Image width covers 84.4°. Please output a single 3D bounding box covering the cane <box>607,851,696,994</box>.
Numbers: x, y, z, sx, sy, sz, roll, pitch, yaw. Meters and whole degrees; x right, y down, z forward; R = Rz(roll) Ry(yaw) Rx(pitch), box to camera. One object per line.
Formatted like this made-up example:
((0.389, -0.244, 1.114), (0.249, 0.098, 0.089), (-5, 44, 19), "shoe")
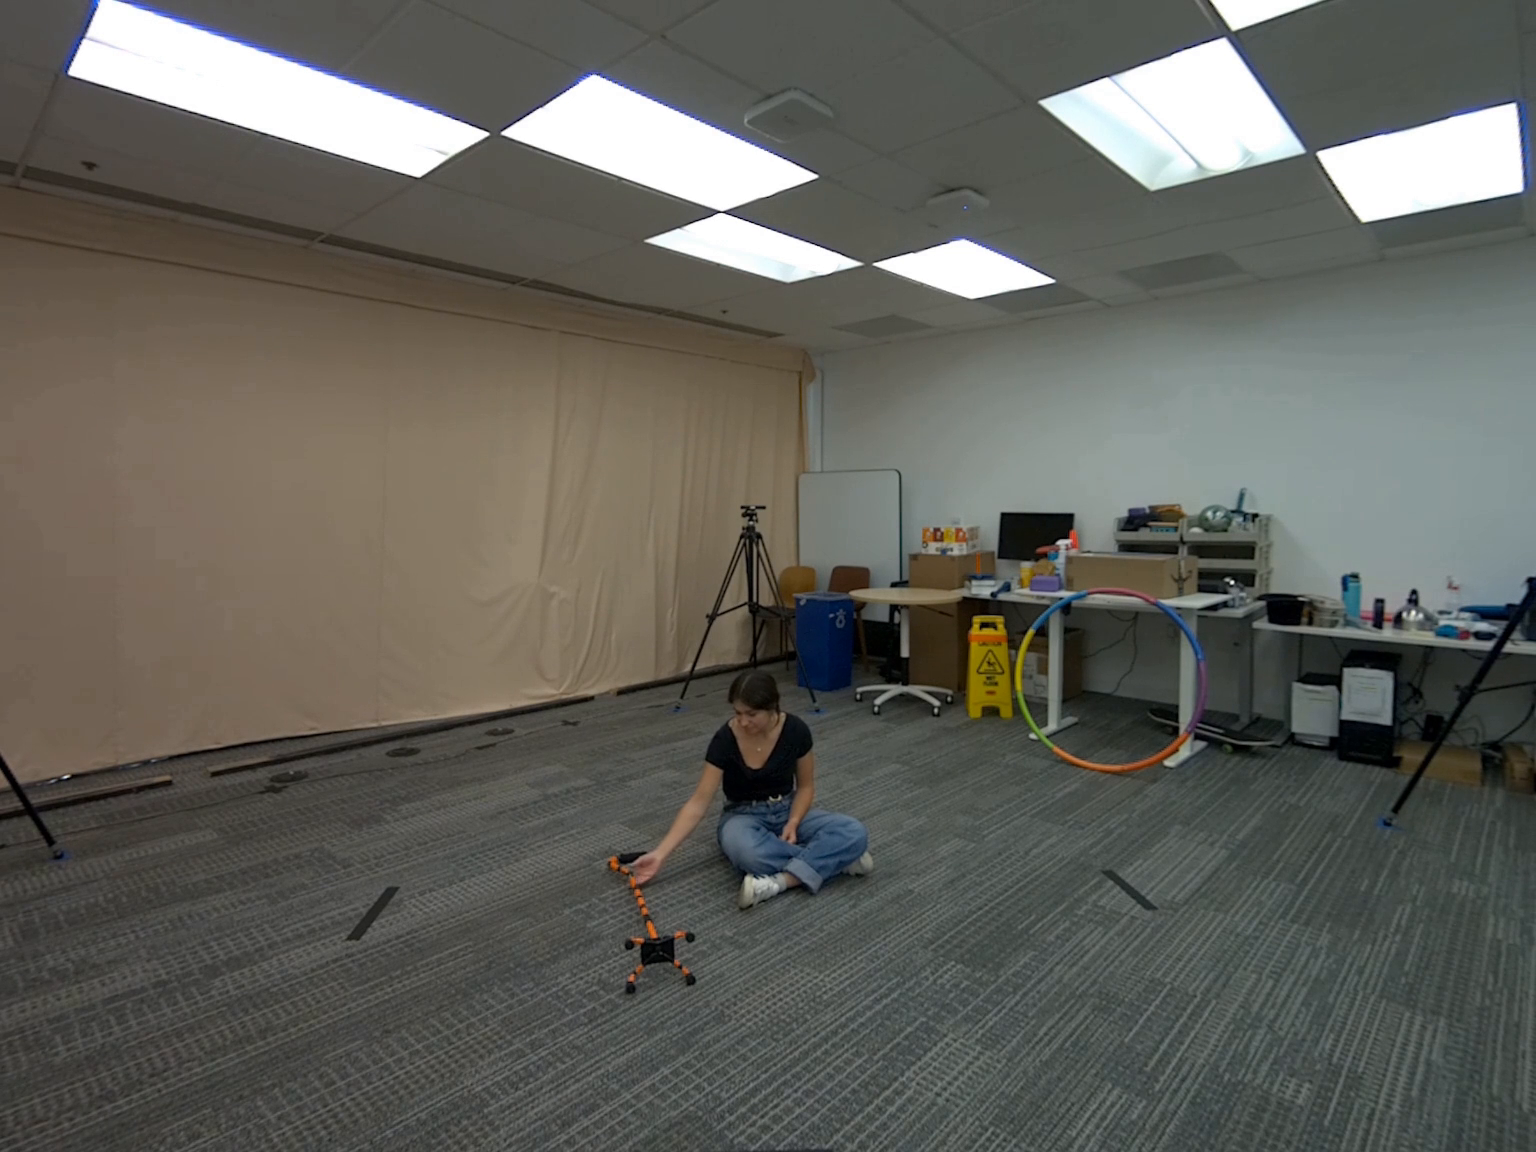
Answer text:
((-0.429, 1.109, 2.860), (0.203, 0.151, 0.921), (-3, 1, -16), "cane")
